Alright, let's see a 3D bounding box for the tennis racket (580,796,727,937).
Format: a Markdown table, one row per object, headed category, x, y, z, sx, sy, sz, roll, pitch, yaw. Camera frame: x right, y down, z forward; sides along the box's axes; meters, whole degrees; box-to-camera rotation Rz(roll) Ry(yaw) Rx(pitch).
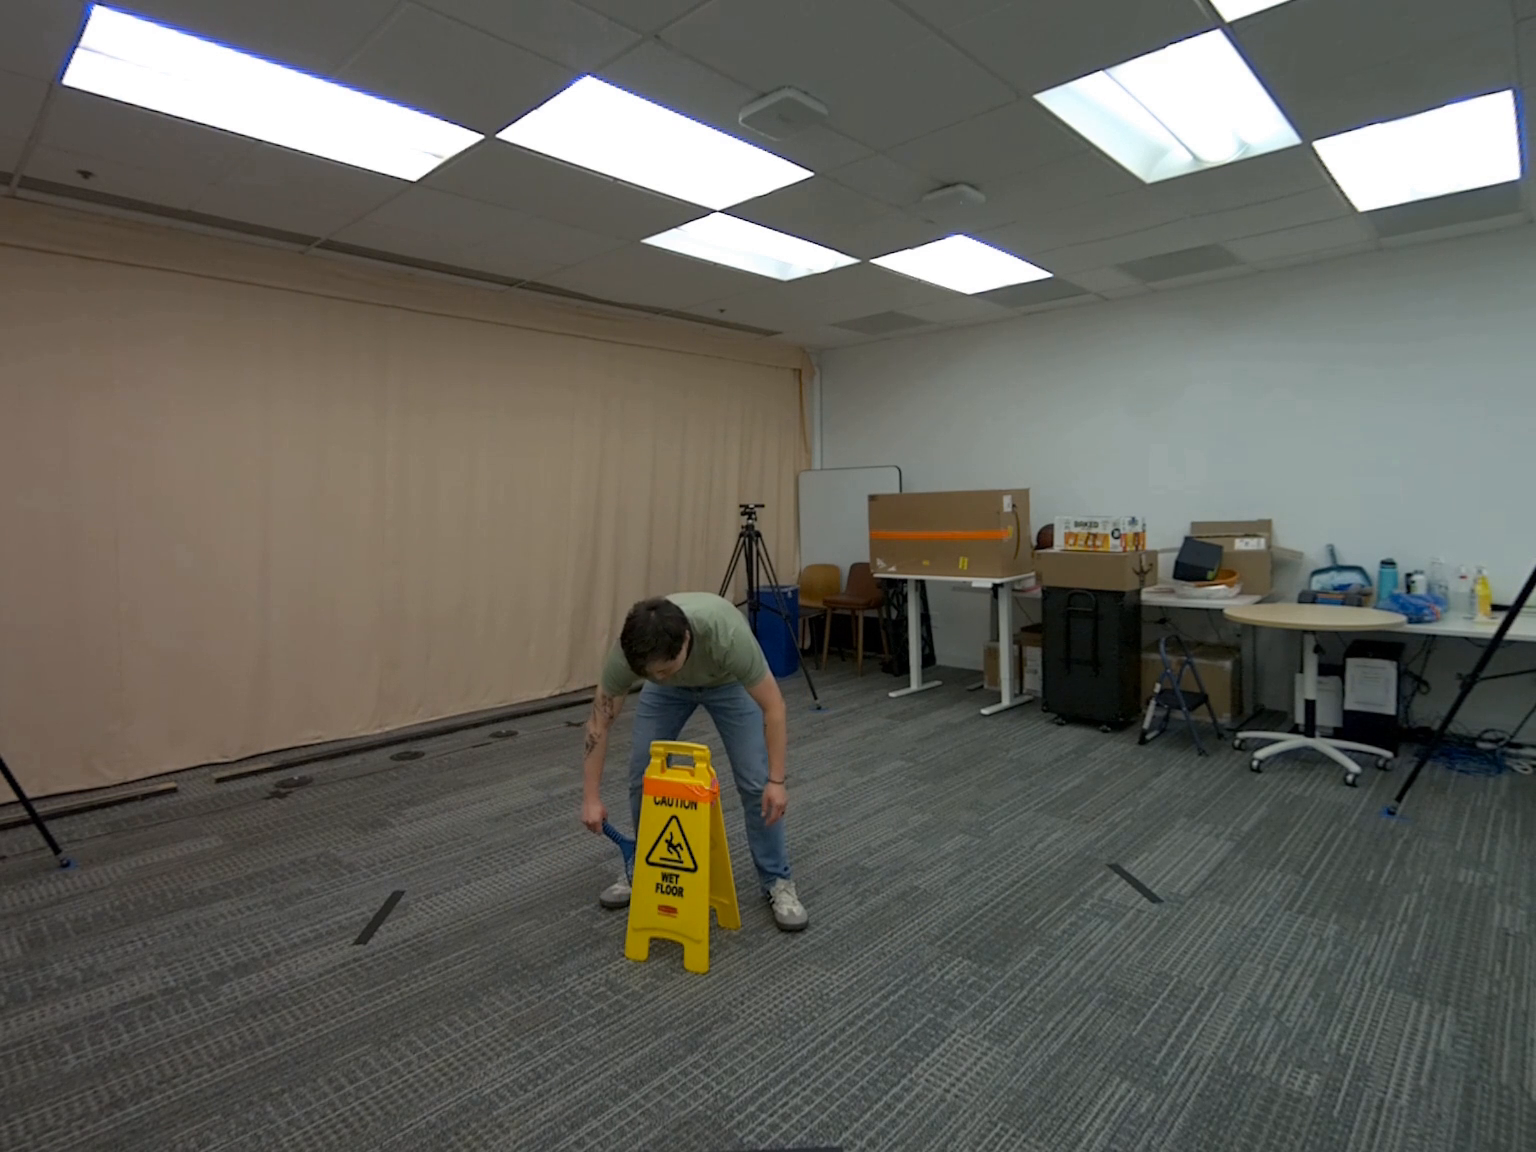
| category | x | y | z | sx | sy | sz | roll | pitch | yaw |
| --- | --- | --- | --- | --- | --- | --- | --- | --- | --- |
| tennis racket | -0.373 | 0.935 | 2.737 | 0.437 | 0.214 | 0.031 | 36 | 4 | 7 |
